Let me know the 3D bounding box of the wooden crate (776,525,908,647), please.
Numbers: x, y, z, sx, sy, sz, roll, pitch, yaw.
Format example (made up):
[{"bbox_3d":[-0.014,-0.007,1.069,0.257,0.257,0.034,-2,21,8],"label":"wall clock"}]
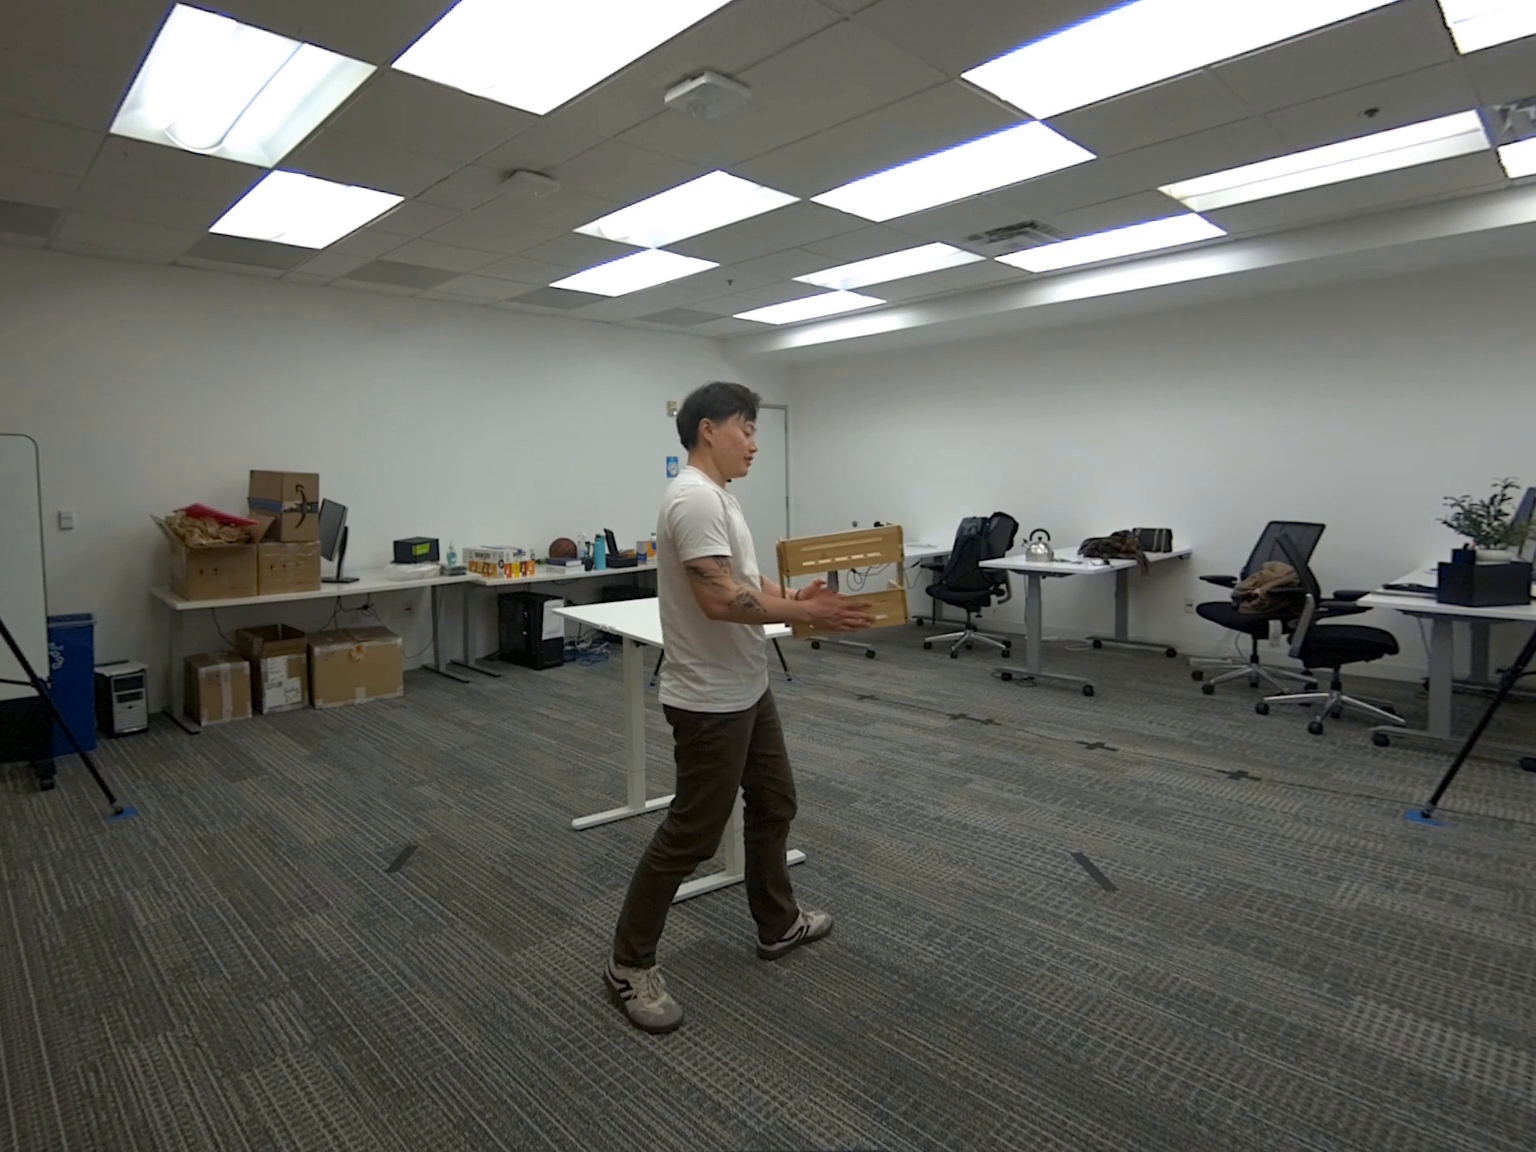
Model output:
[{"bbox_3d":[0.188,-0.001,2.291,0.324,0.272,0.303,-9,4,-1],"label":"wooden crate"}]
